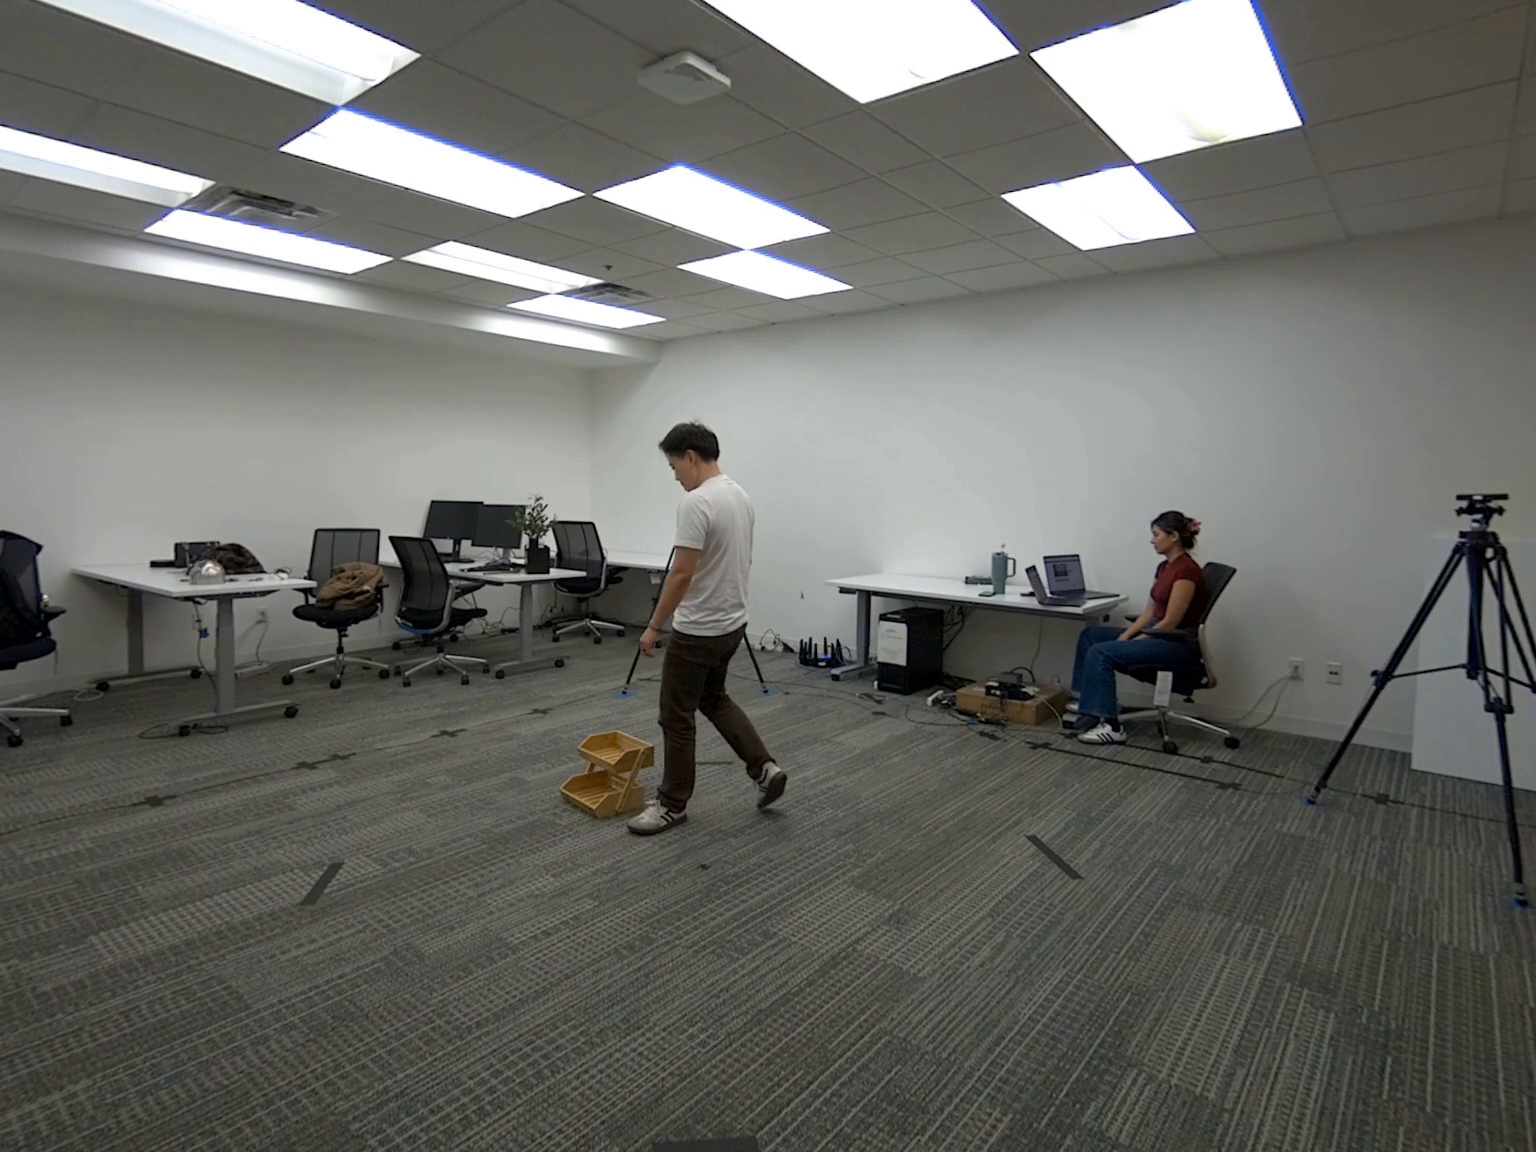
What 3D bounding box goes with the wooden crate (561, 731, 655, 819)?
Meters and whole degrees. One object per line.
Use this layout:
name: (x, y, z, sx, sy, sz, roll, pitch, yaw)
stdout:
wooden crate: (-0.732, 0.863, 3.754, 0.293, 0.272, 0.336, -2, 6, -41)
